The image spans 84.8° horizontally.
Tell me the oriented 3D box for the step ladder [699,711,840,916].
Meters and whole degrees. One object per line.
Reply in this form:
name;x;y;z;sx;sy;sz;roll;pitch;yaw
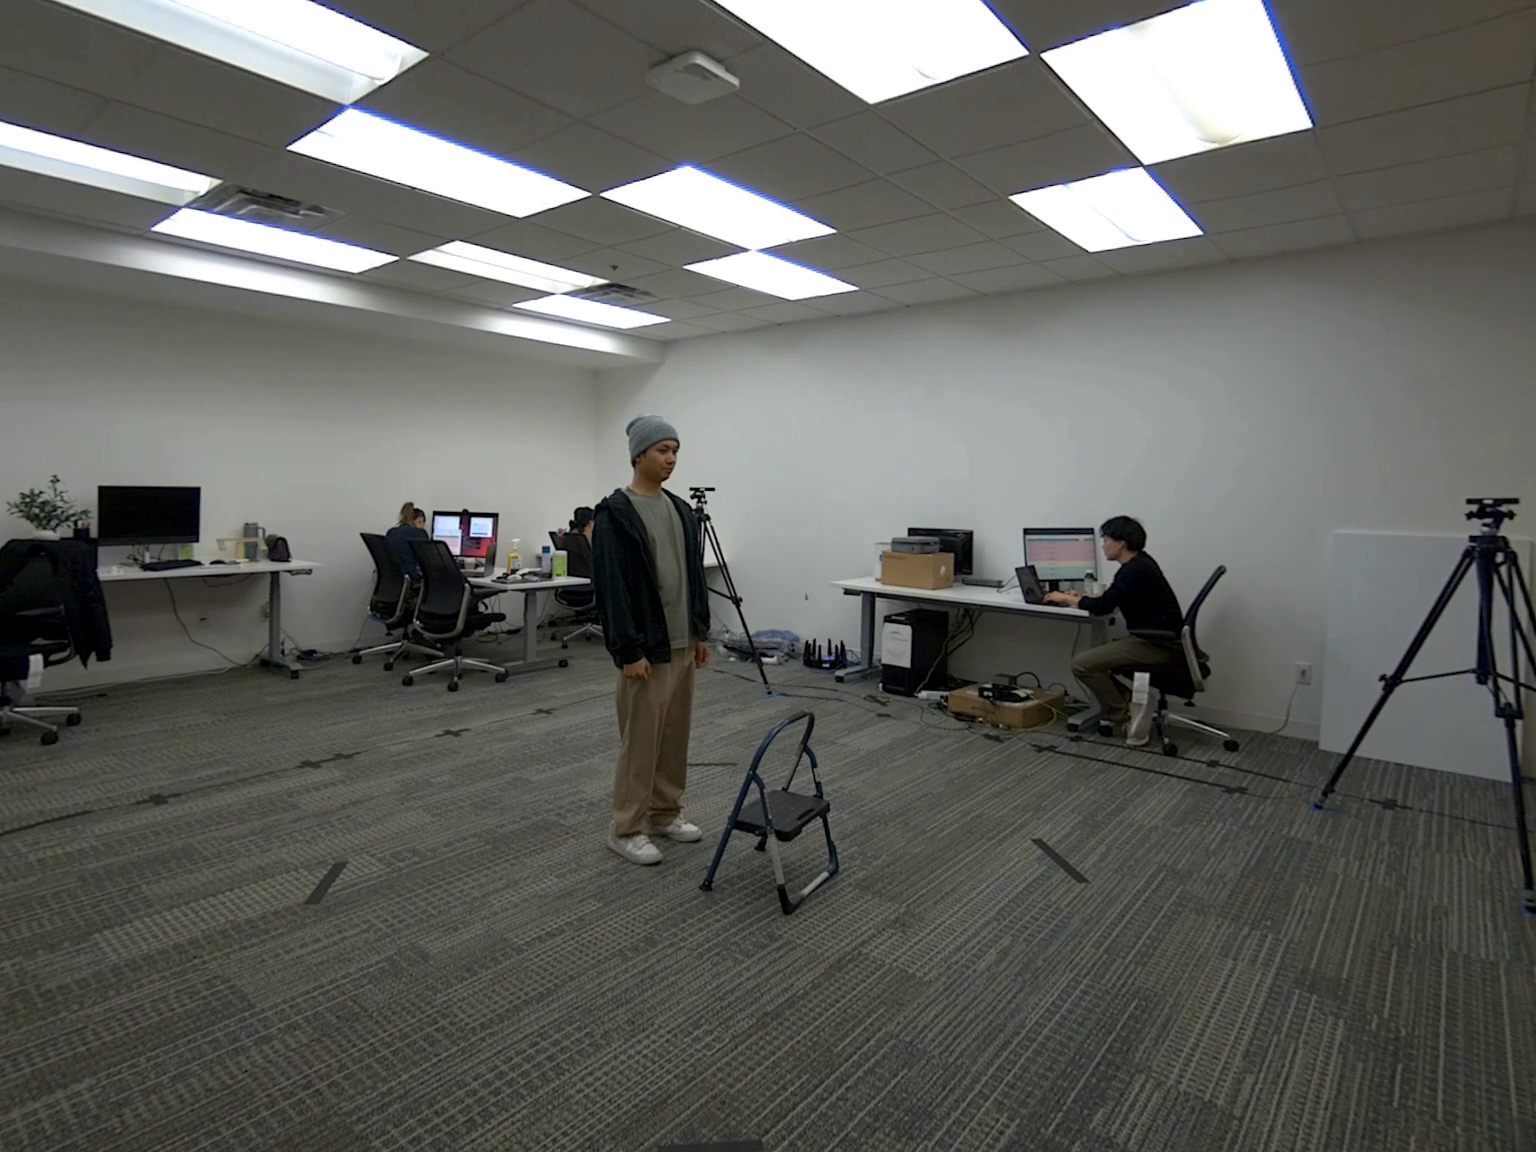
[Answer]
step ladder;0.015;0.777;3.017;0.359;0.604;0.420;3;4;29
